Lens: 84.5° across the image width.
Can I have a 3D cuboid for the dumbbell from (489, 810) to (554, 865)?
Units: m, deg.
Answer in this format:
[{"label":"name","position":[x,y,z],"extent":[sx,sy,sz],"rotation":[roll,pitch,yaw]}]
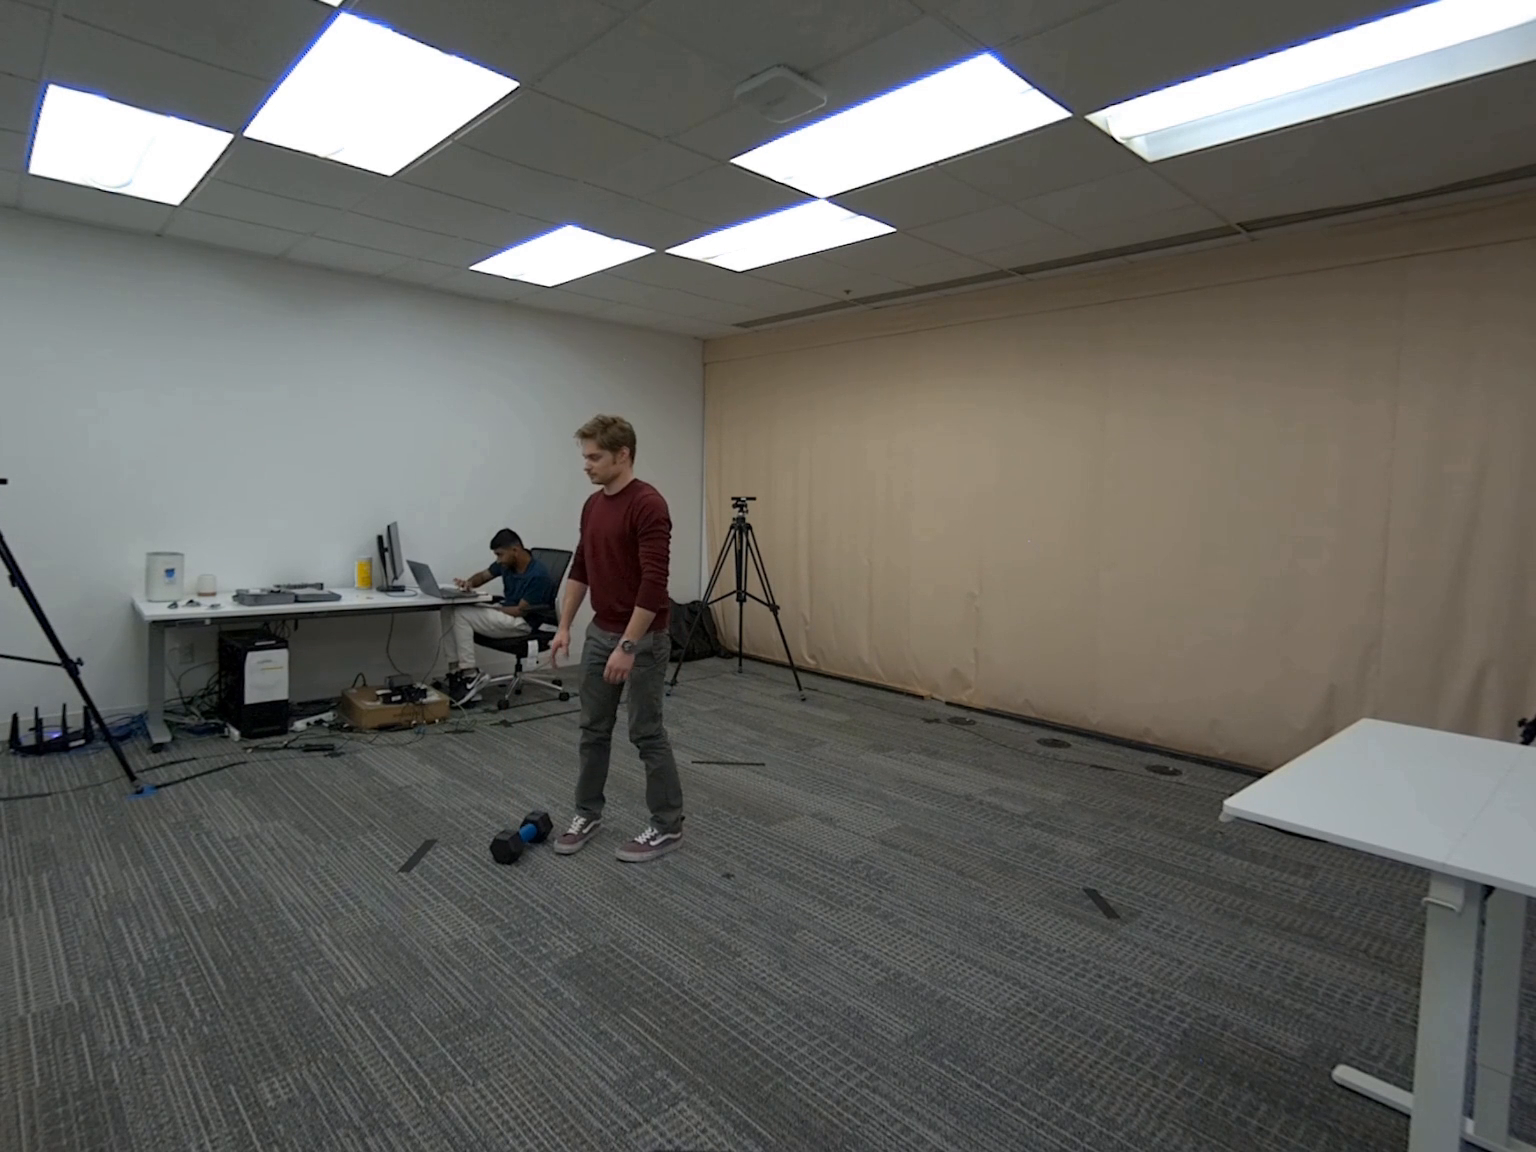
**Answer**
[{"label":"dumbbell","position":[-0.966,1.017,3.287],"extent":[0.109,0.123,0.290],"rotation":[-29,-3,16]}]
